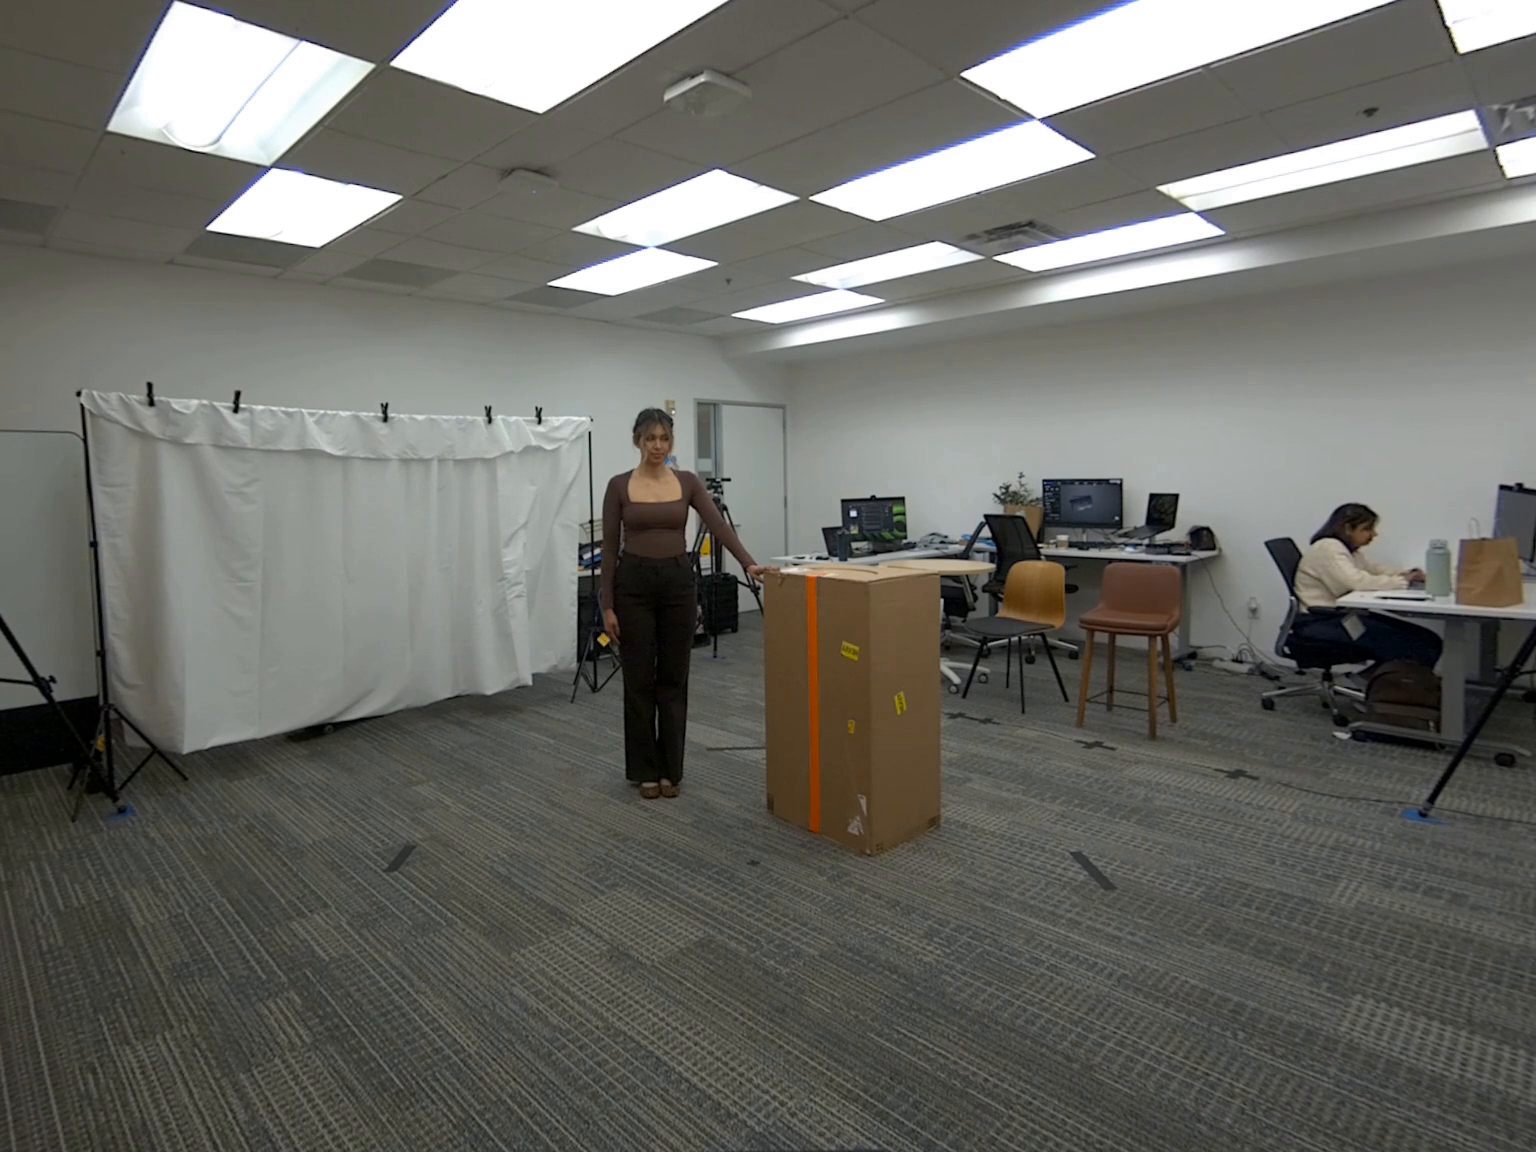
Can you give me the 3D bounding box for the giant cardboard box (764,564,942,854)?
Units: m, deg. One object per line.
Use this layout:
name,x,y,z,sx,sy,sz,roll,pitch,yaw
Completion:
giant cardboard box,0.335,0.486,3.456,0.435,1.023,0.602,-5,6,-39
